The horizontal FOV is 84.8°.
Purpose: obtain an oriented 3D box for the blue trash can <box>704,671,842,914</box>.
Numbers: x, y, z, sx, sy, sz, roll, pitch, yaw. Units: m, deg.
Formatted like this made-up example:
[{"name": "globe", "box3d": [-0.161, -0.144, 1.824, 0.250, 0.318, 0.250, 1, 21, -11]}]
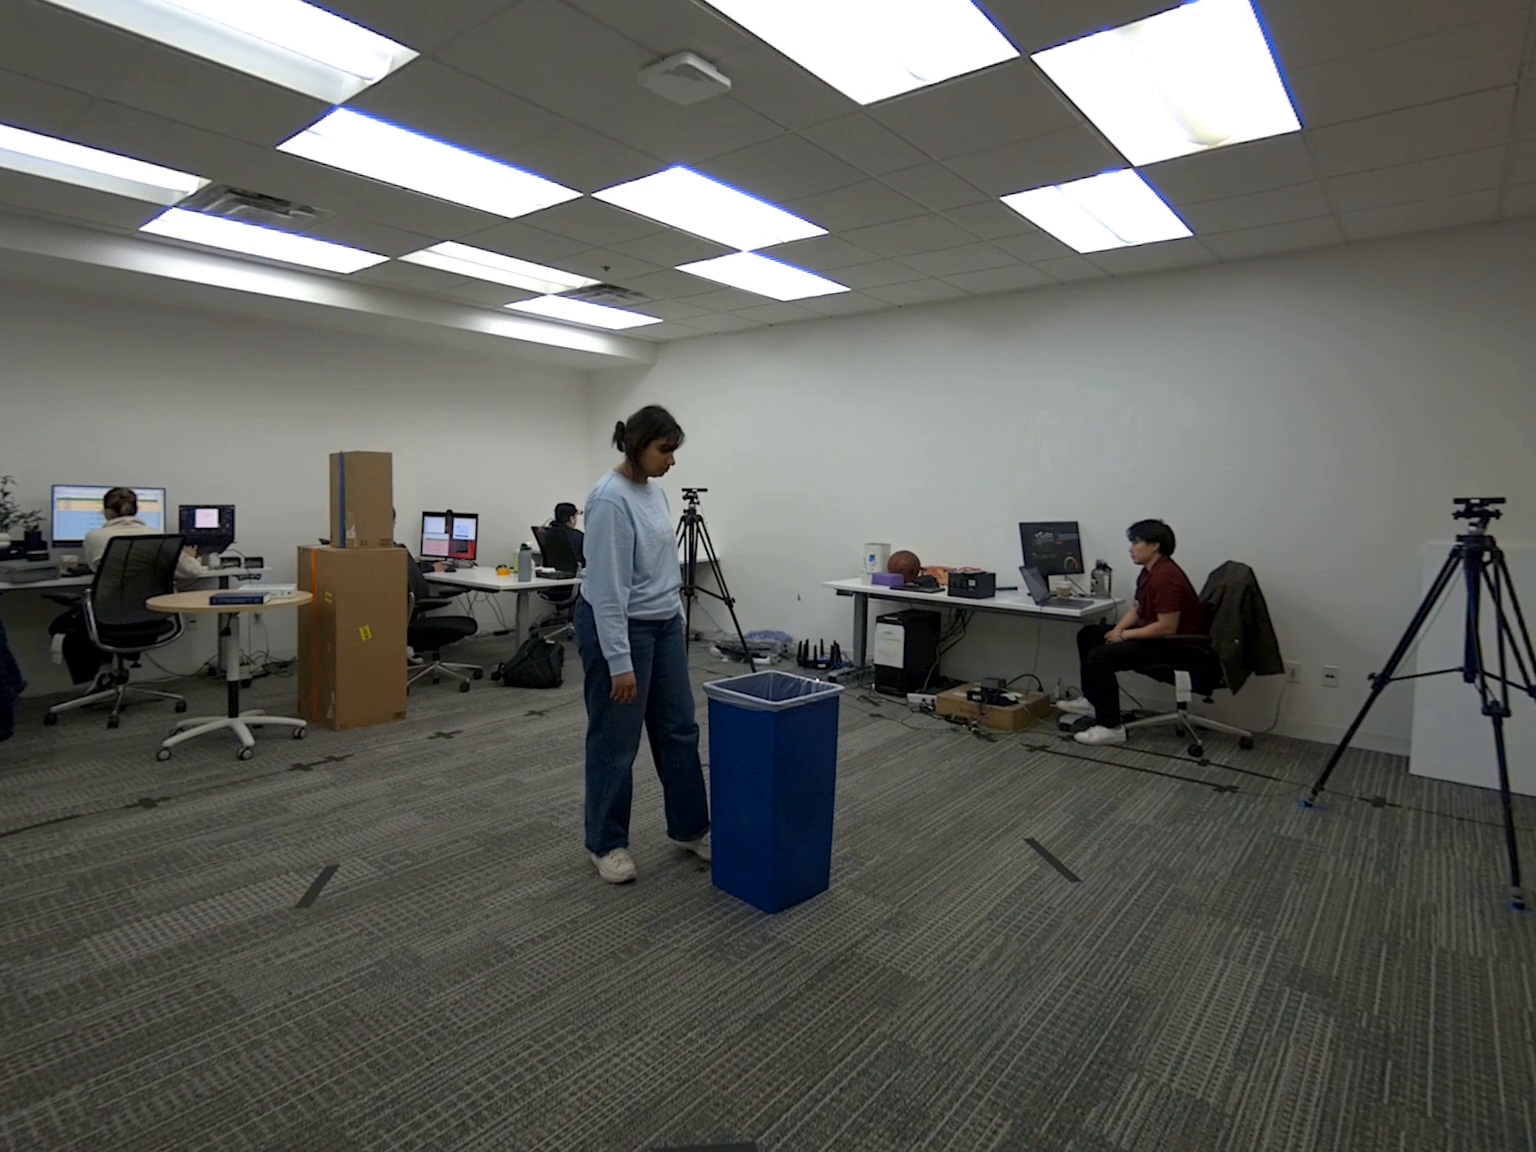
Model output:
[{"name": "blue trash can", "box3d": [0.005, 0.732, 2.962, 0.391, 0.712, 0.362, 4, 4, 45]}]
